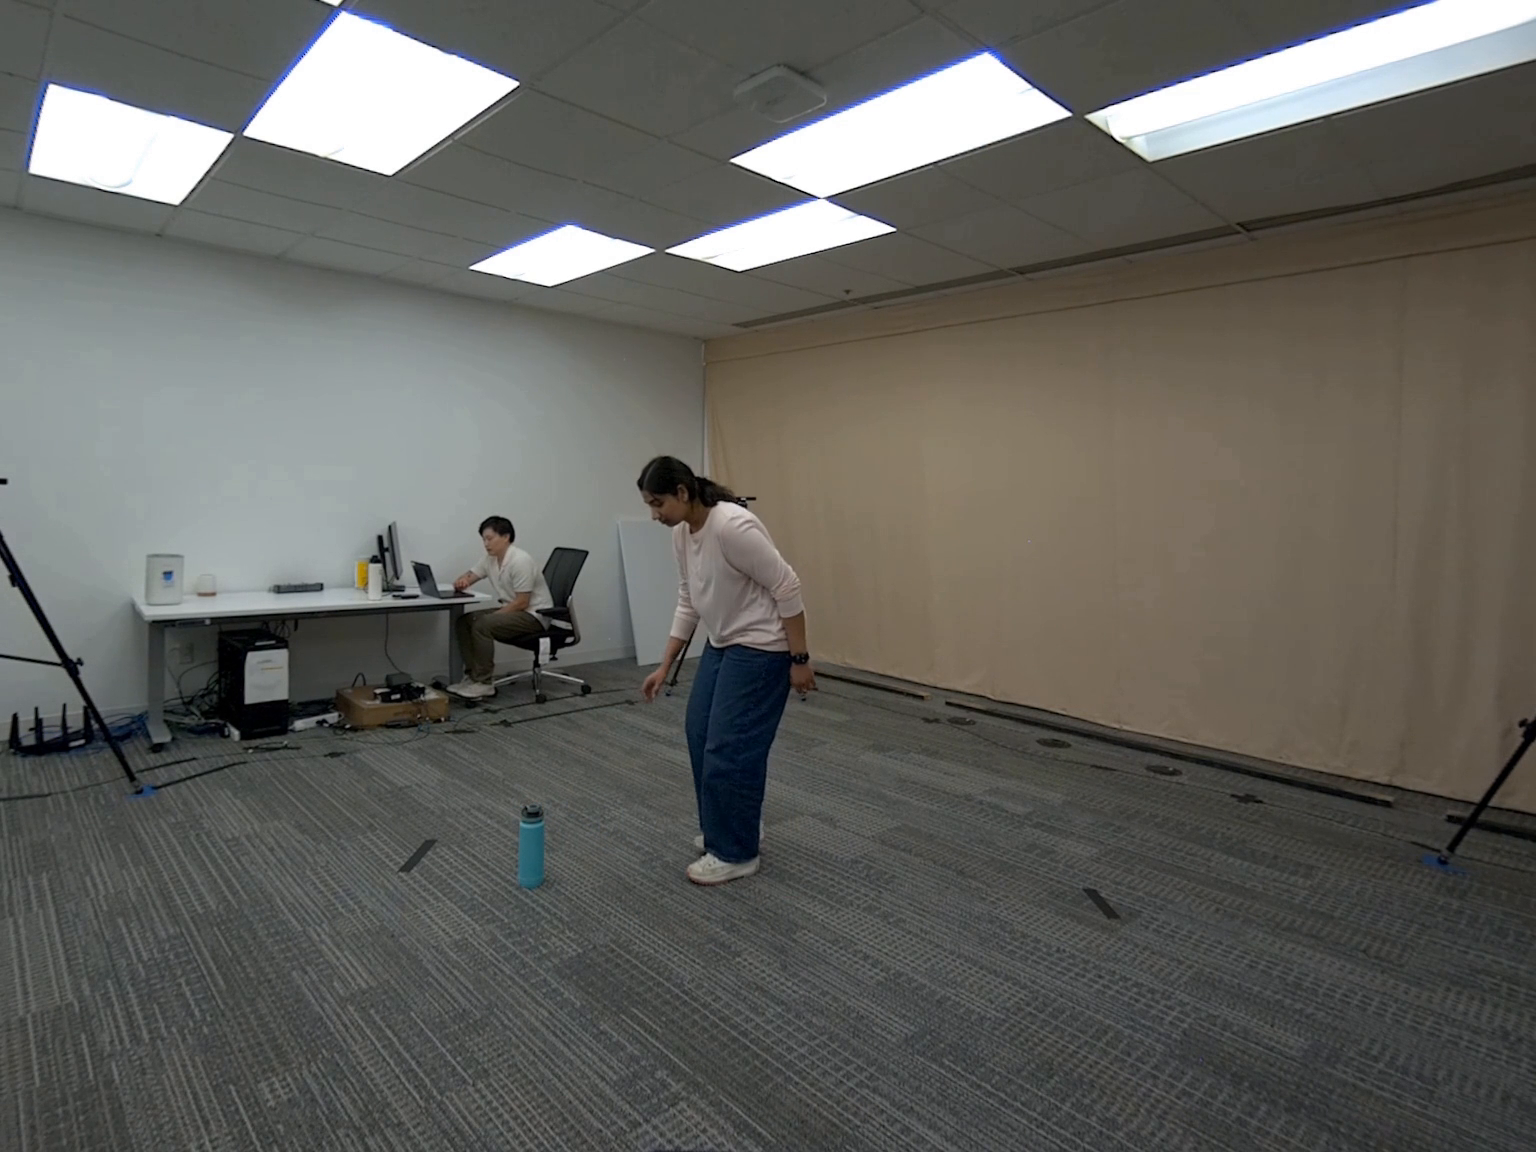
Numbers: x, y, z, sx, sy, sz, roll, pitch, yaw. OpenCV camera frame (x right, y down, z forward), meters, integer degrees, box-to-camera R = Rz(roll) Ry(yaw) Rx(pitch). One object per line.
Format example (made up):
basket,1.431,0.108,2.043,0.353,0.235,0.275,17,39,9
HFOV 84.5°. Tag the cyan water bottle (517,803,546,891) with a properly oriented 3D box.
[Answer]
cyan water bottle,-0.855,0.960,3.005,0.092,0.283,0.092,1,2,-1
